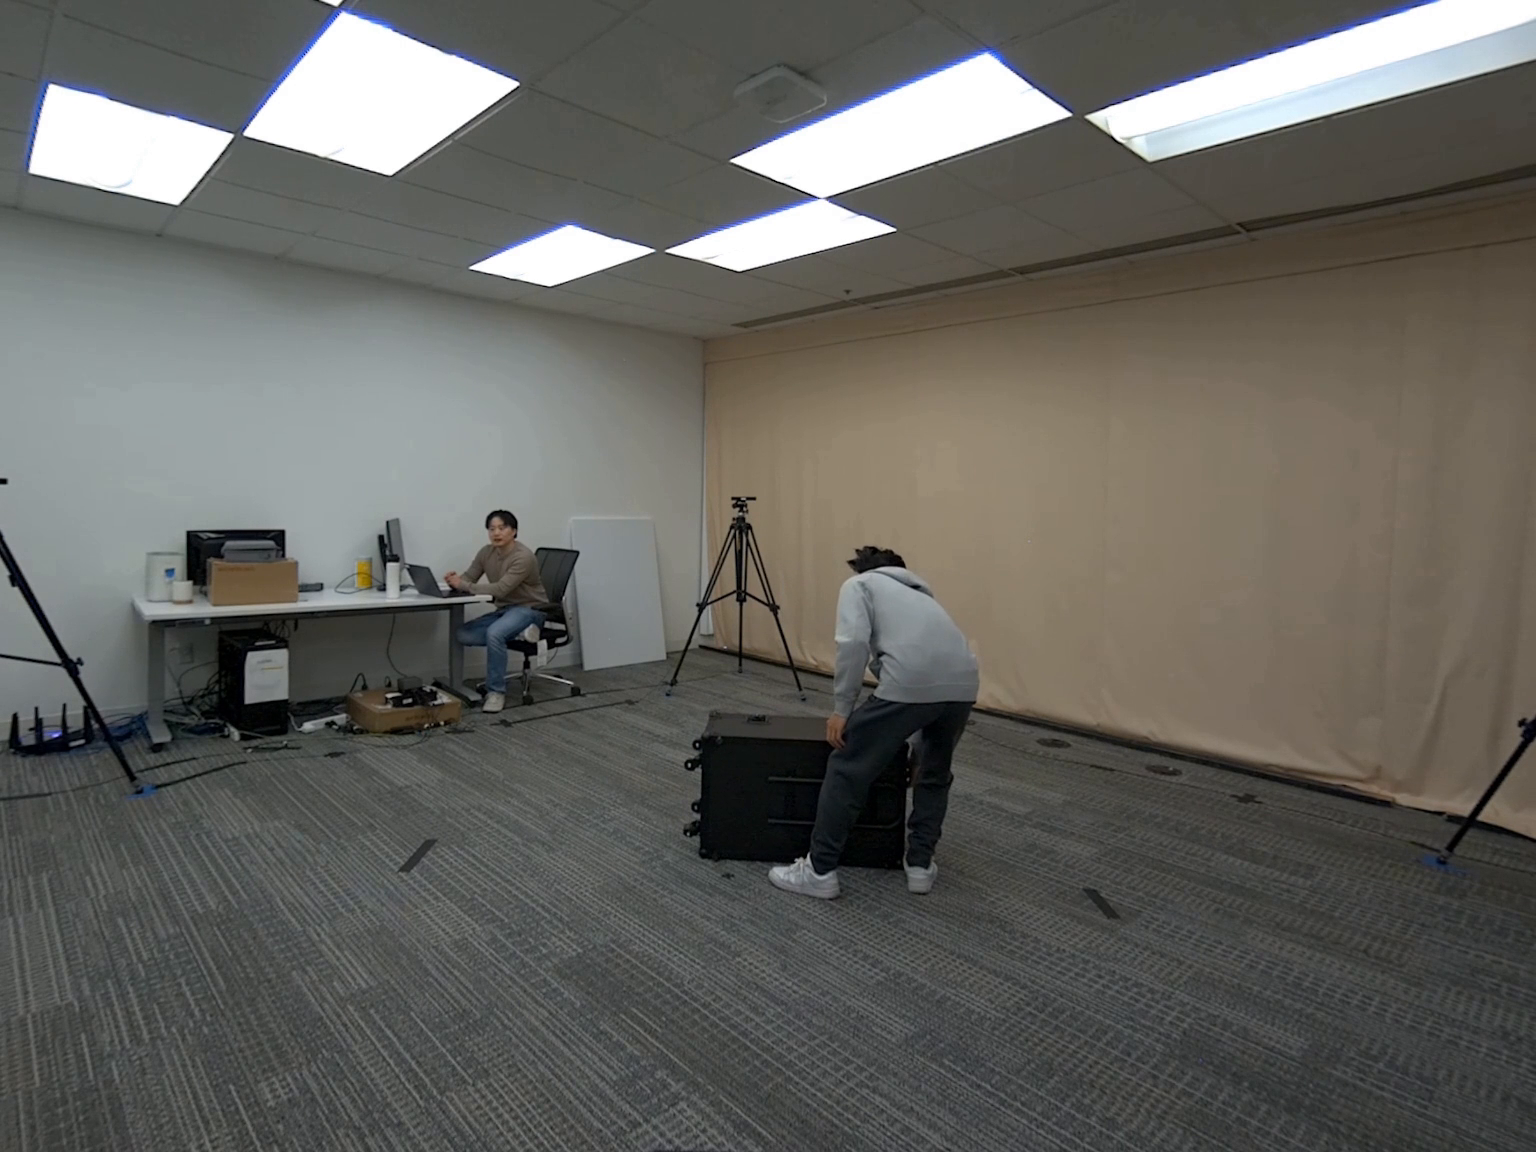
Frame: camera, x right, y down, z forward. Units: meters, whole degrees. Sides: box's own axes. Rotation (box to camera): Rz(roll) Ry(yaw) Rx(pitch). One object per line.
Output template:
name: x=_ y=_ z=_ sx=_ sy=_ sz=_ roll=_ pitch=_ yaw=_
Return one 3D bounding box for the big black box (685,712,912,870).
big black box: x=0.096 y=0.843 z=3.382 sx=0.865 sy=0.520 sz=0.395 roll=2 pitch=3 yaw=4
